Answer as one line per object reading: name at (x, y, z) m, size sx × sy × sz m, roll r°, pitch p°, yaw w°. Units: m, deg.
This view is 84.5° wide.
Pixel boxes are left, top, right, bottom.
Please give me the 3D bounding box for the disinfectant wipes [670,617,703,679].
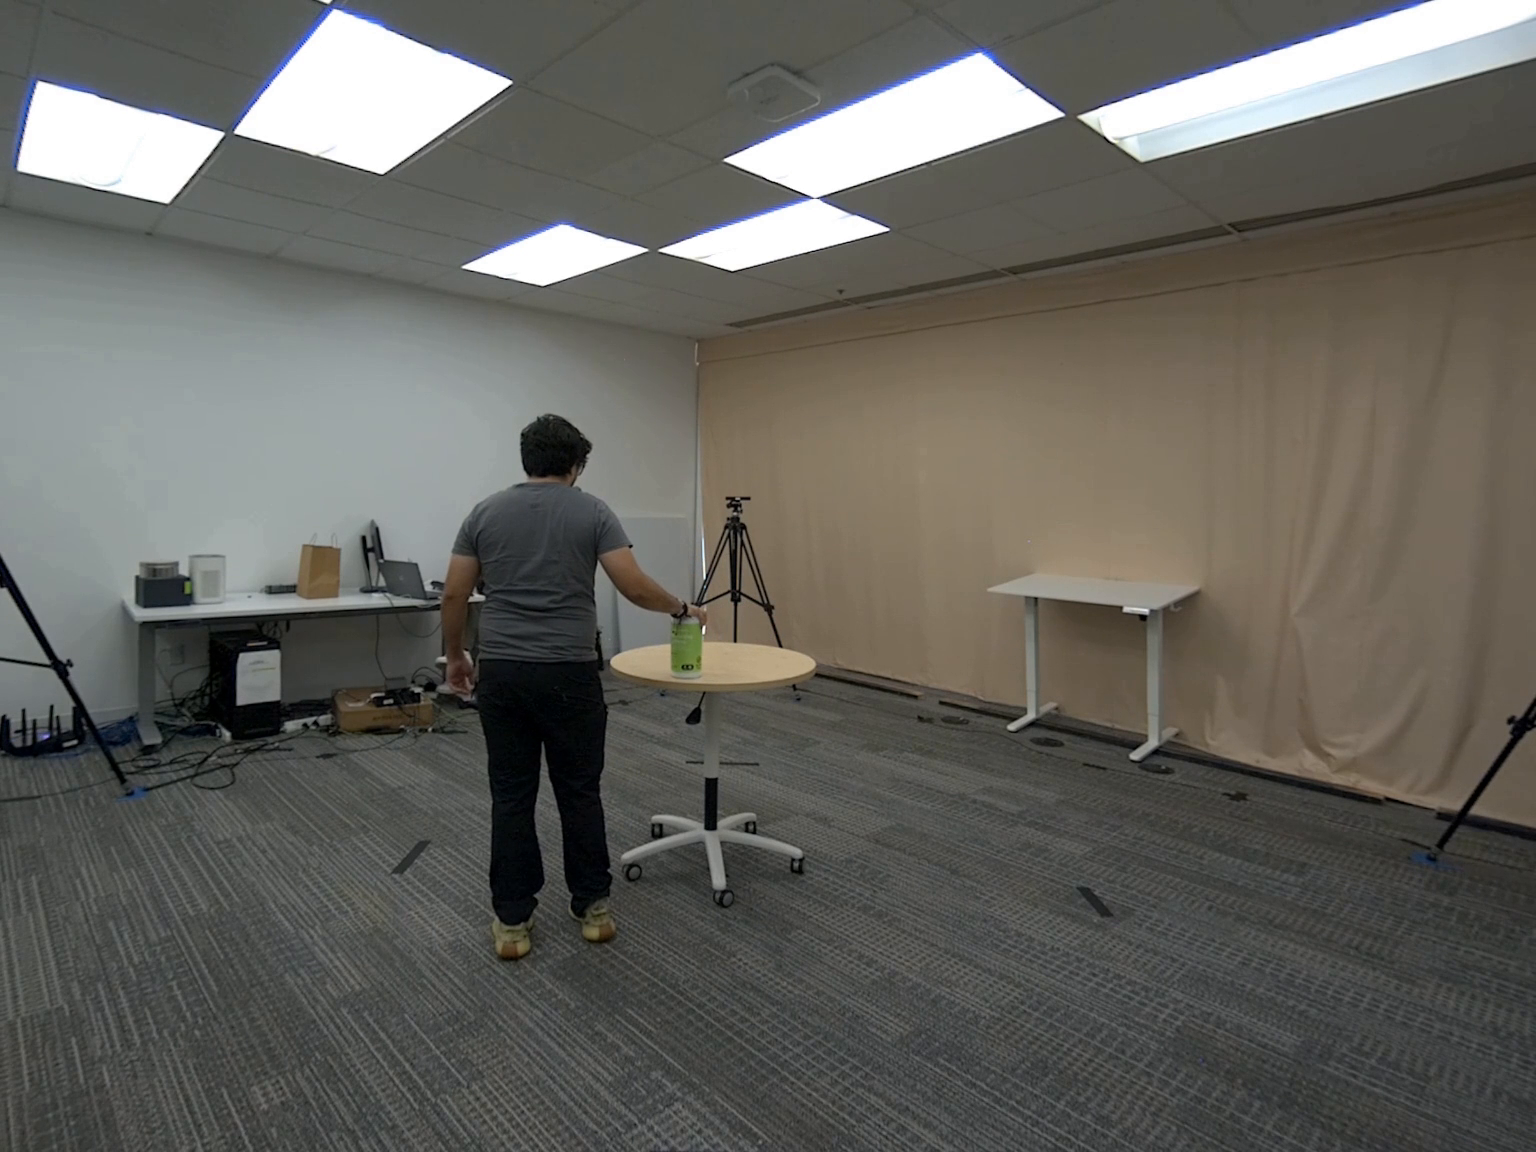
disinfectant wipes at (-0.287, 0.237, 2.883) m, size 0.118 × 0.216 × 0.118 m, roll 1°, pitch 6°, yaw -1°
